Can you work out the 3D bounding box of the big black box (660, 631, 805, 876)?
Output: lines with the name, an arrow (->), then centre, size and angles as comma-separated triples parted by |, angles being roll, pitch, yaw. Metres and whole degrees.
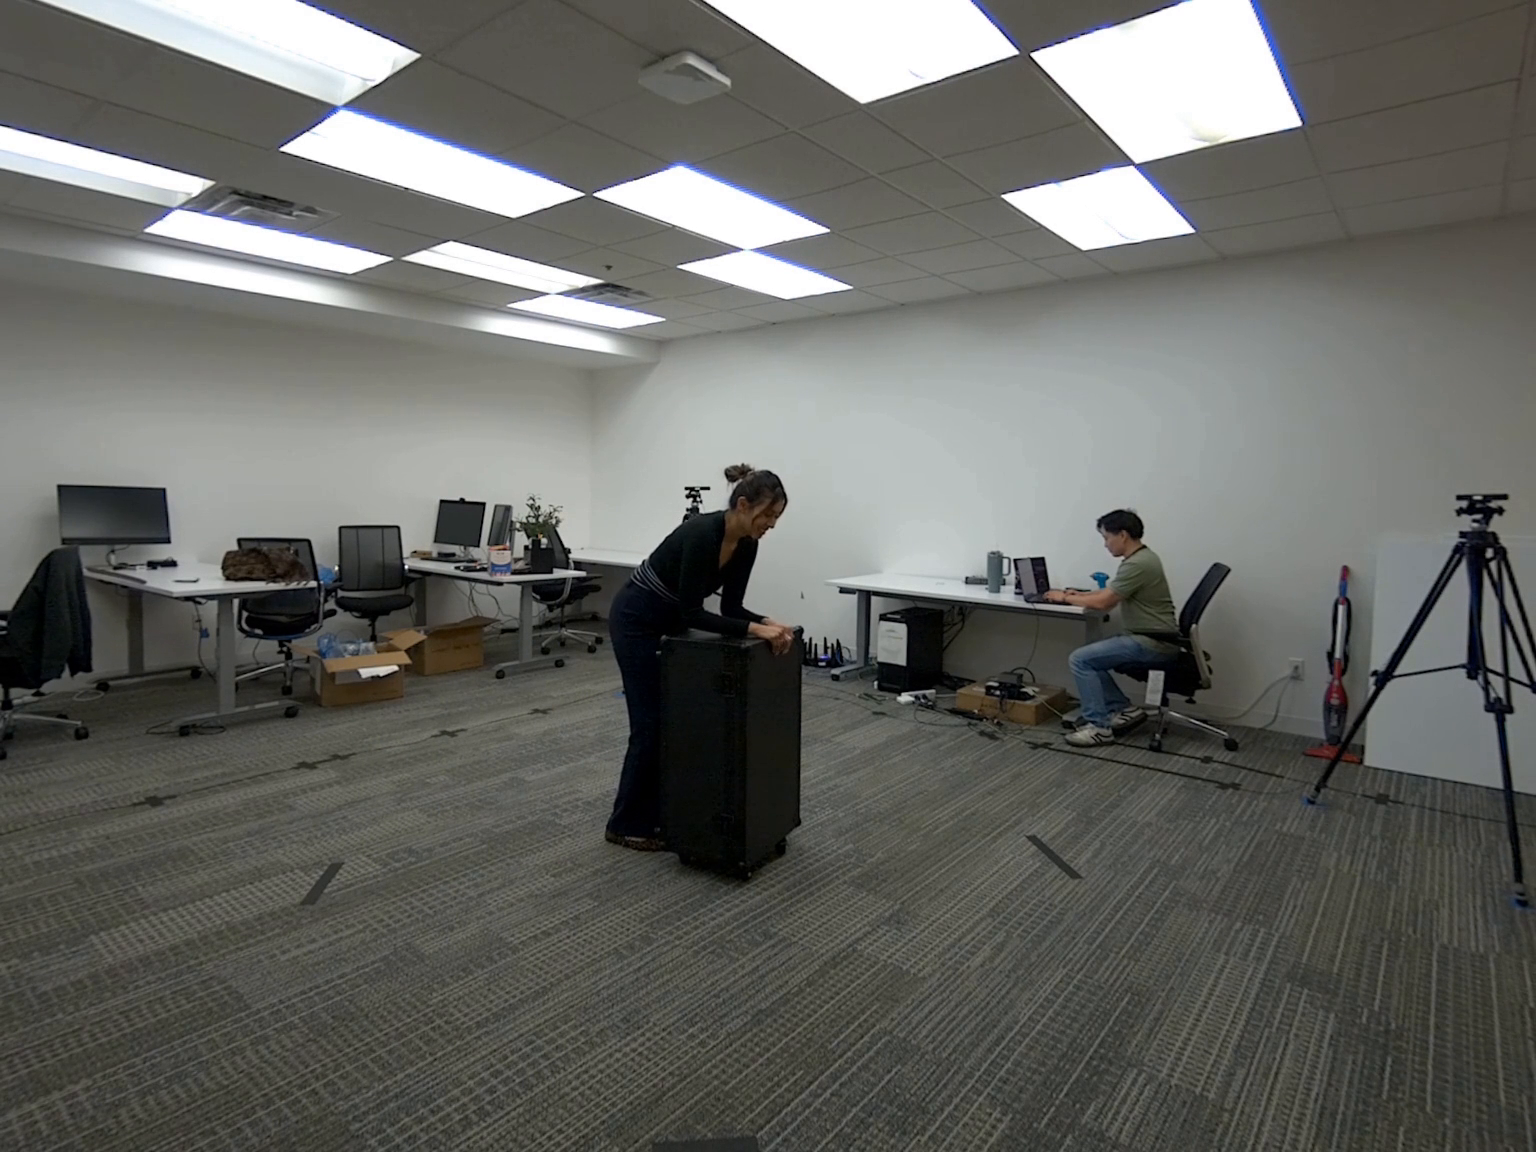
big black box -> -0.148, 0.630, 3.203 | 0.407, 0.859, 0.509 | 1, 3, 27
